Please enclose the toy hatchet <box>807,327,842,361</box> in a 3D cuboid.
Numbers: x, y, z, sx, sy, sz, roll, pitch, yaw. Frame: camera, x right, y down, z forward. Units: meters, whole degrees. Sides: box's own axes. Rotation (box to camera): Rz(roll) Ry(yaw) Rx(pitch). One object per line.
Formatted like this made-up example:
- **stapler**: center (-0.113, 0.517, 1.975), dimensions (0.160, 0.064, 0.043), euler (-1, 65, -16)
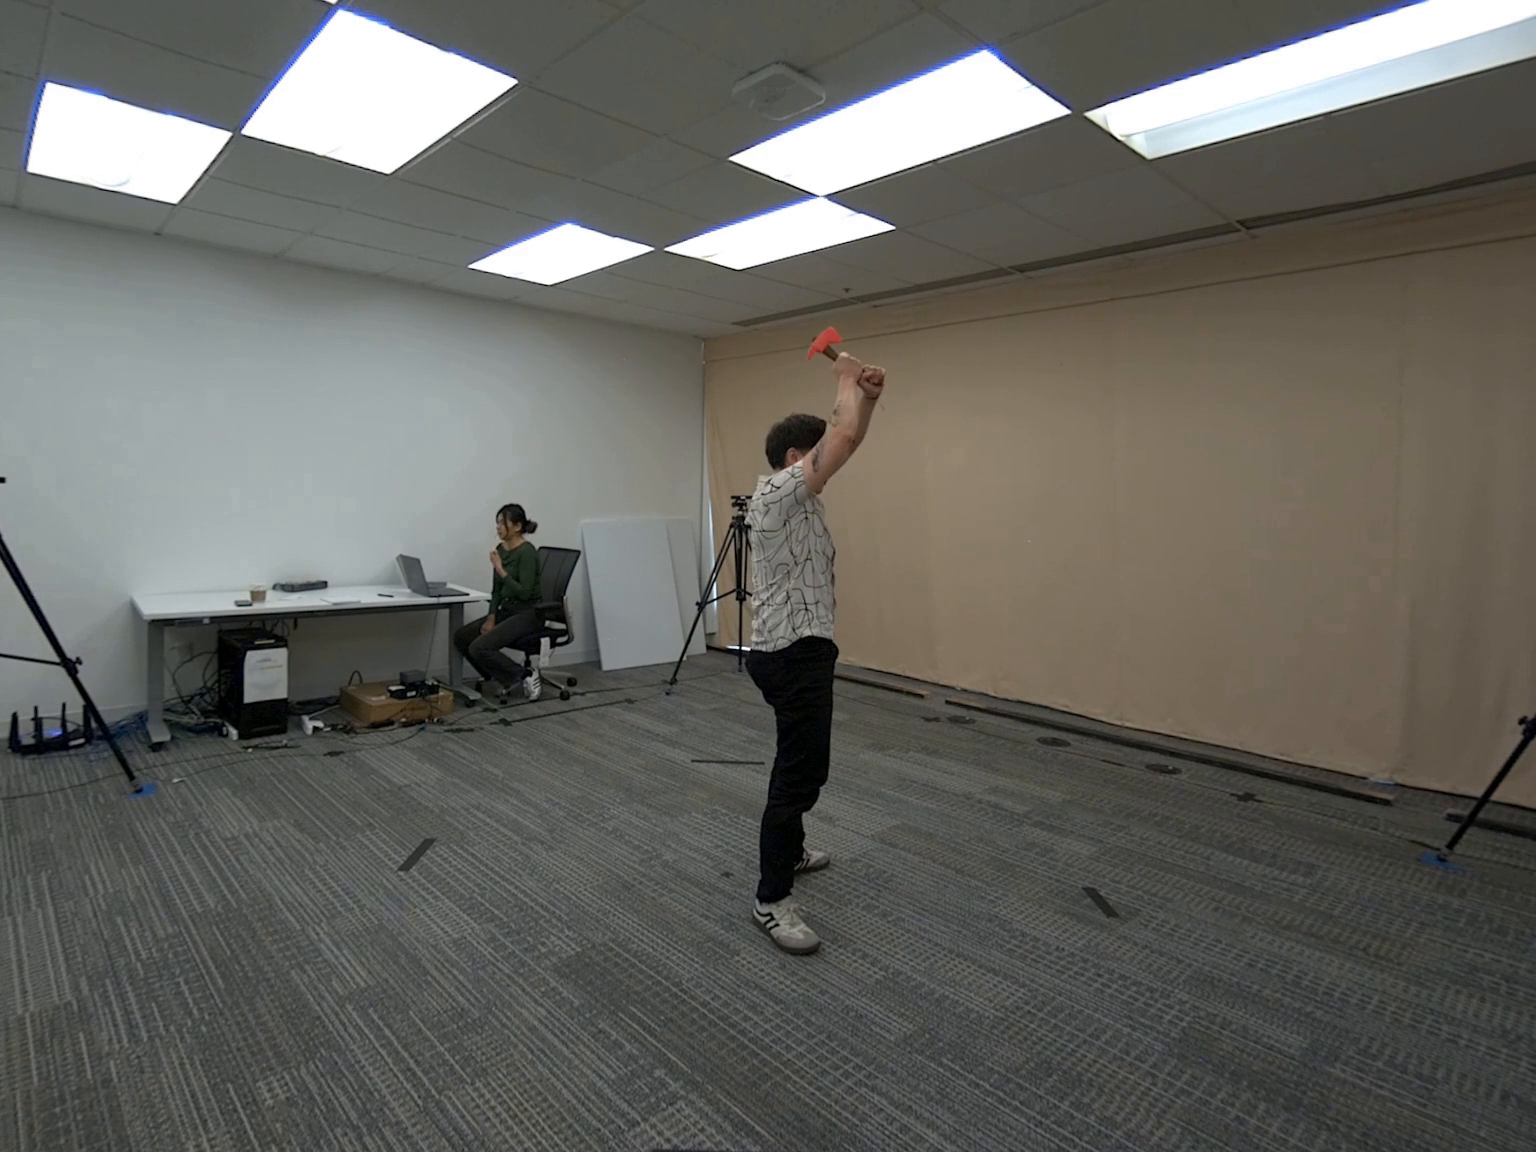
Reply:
- **toy hatchet**: center (0.269, -0.727, 2.771), dimensions (0.269, 0.131, 0.029), euler (18, -4, -4)
